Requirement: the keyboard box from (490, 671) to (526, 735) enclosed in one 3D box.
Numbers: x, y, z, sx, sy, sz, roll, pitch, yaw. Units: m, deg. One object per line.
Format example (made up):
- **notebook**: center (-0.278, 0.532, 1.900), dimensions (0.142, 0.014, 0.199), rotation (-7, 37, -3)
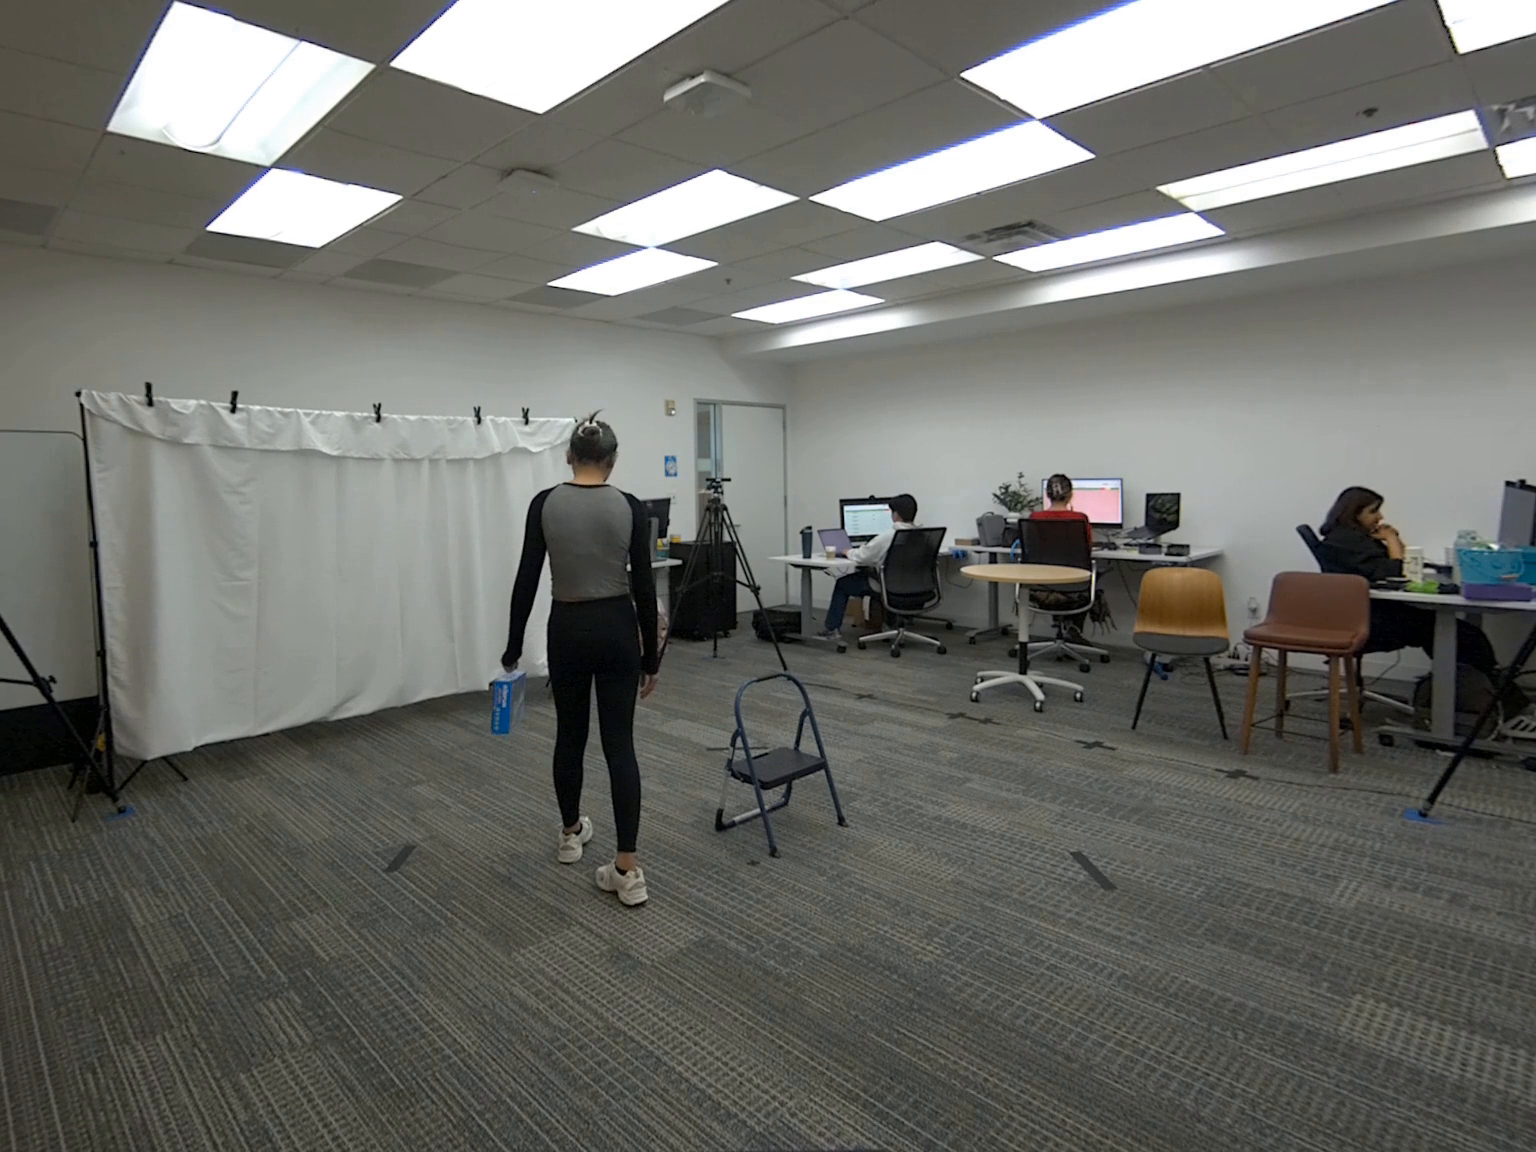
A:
- **keyboard box**: center (-0.915, 0.442, 3.040), dimensions (0.058, 0.176, 0.439), rotation (1, -2, -10)
